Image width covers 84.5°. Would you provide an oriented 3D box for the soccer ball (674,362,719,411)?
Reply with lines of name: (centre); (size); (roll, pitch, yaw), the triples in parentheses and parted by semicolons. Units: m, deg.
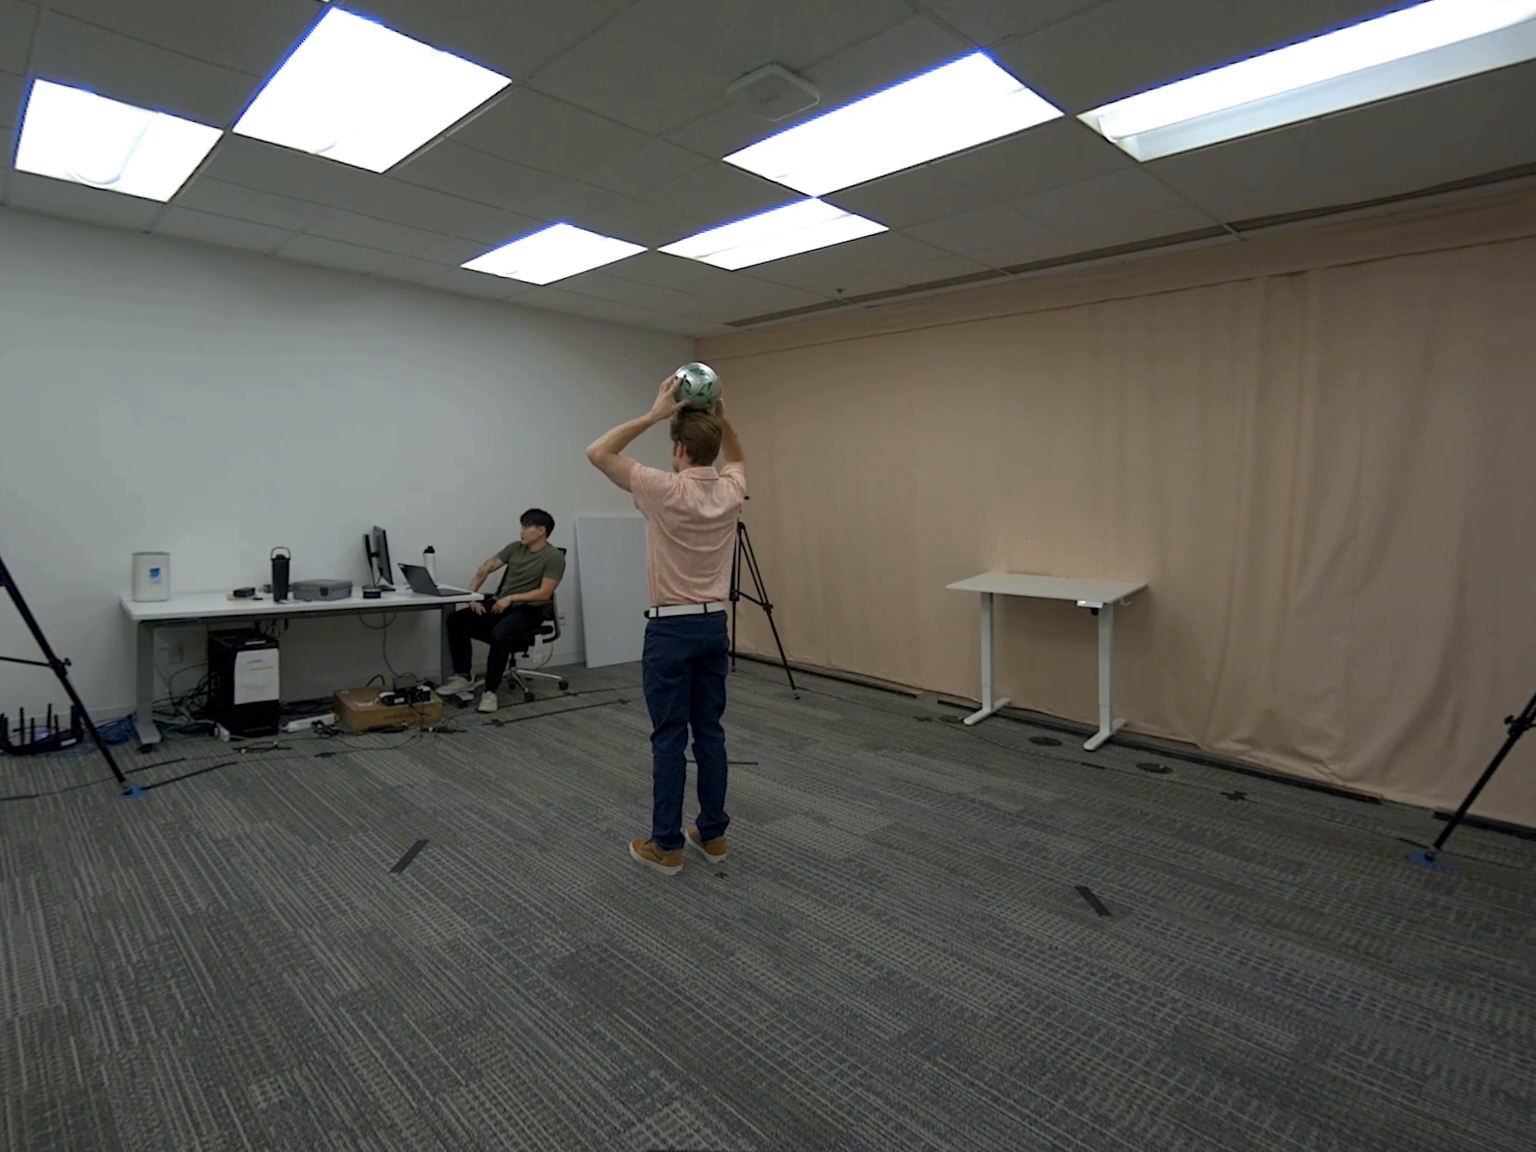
soccer ball: (-0.283, -0.694, 3.146); (0.187, 0.187, 0.188); (1, 4, -1)
